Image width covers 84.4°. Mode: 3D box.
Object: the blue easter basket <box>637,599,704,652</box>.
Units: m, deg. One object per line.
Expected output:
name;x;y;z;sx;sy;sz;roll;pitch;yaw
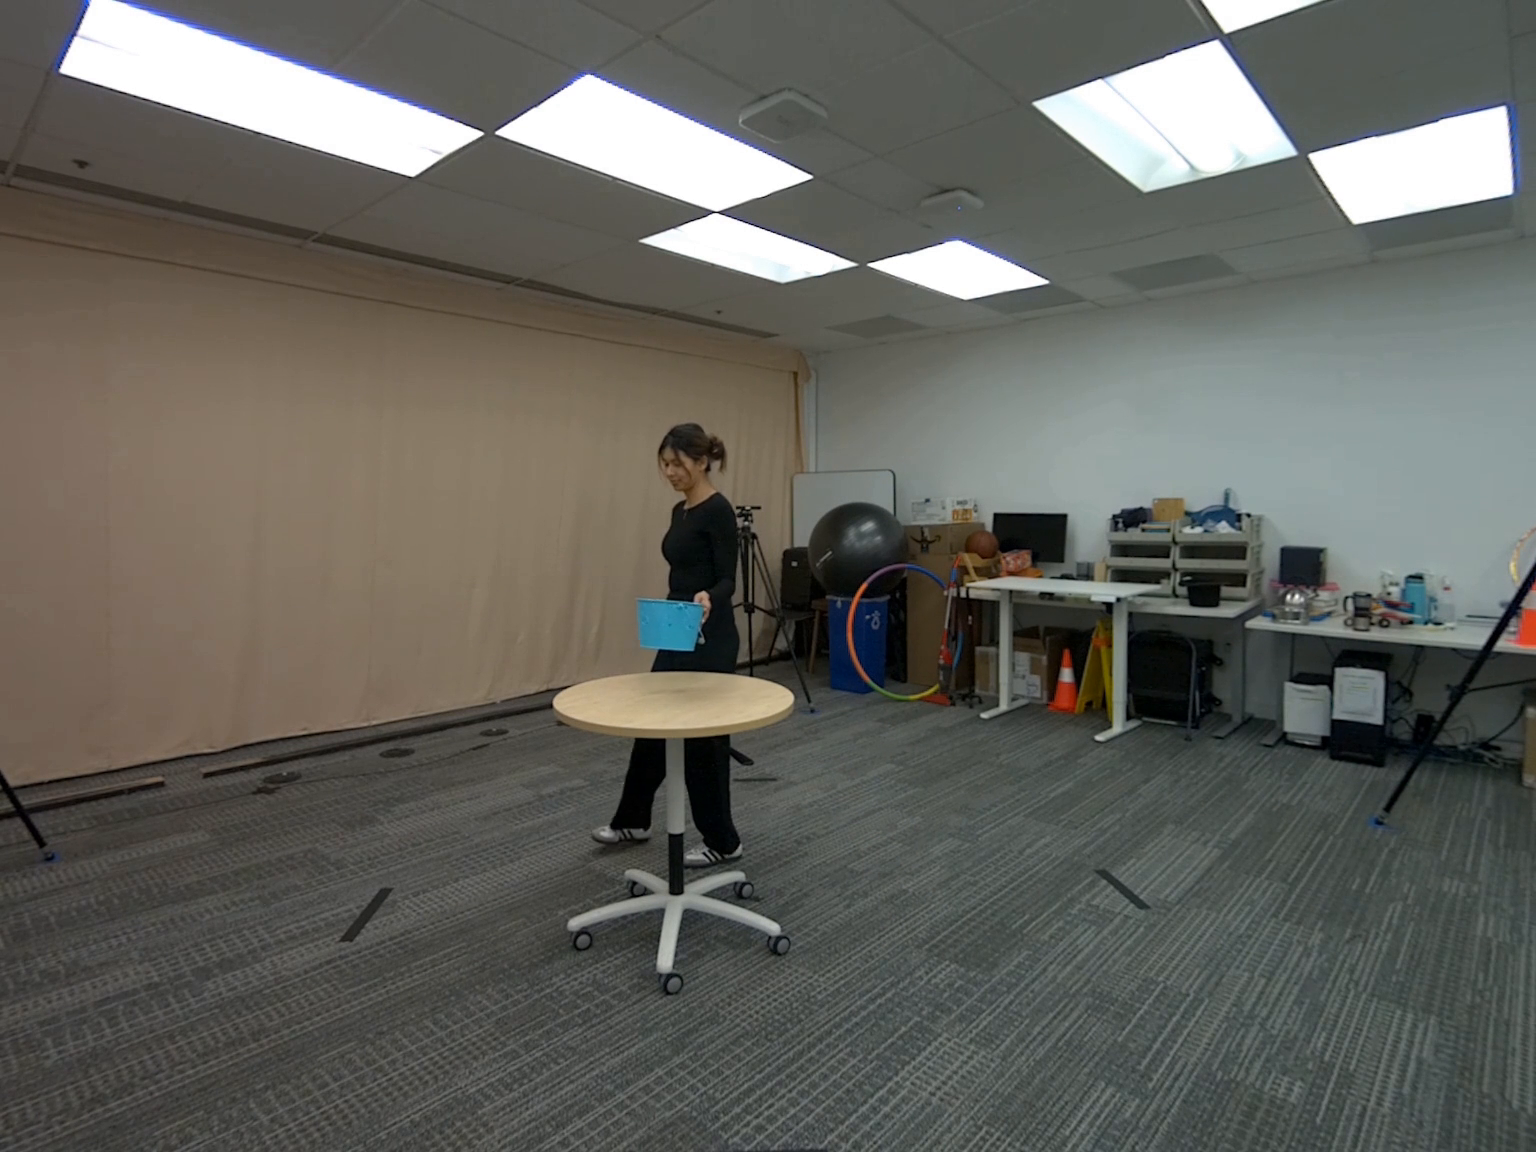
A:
blue easter basket;-0.322;0.156;2.751;0.243;0.156;0.243;4;-2;-2
